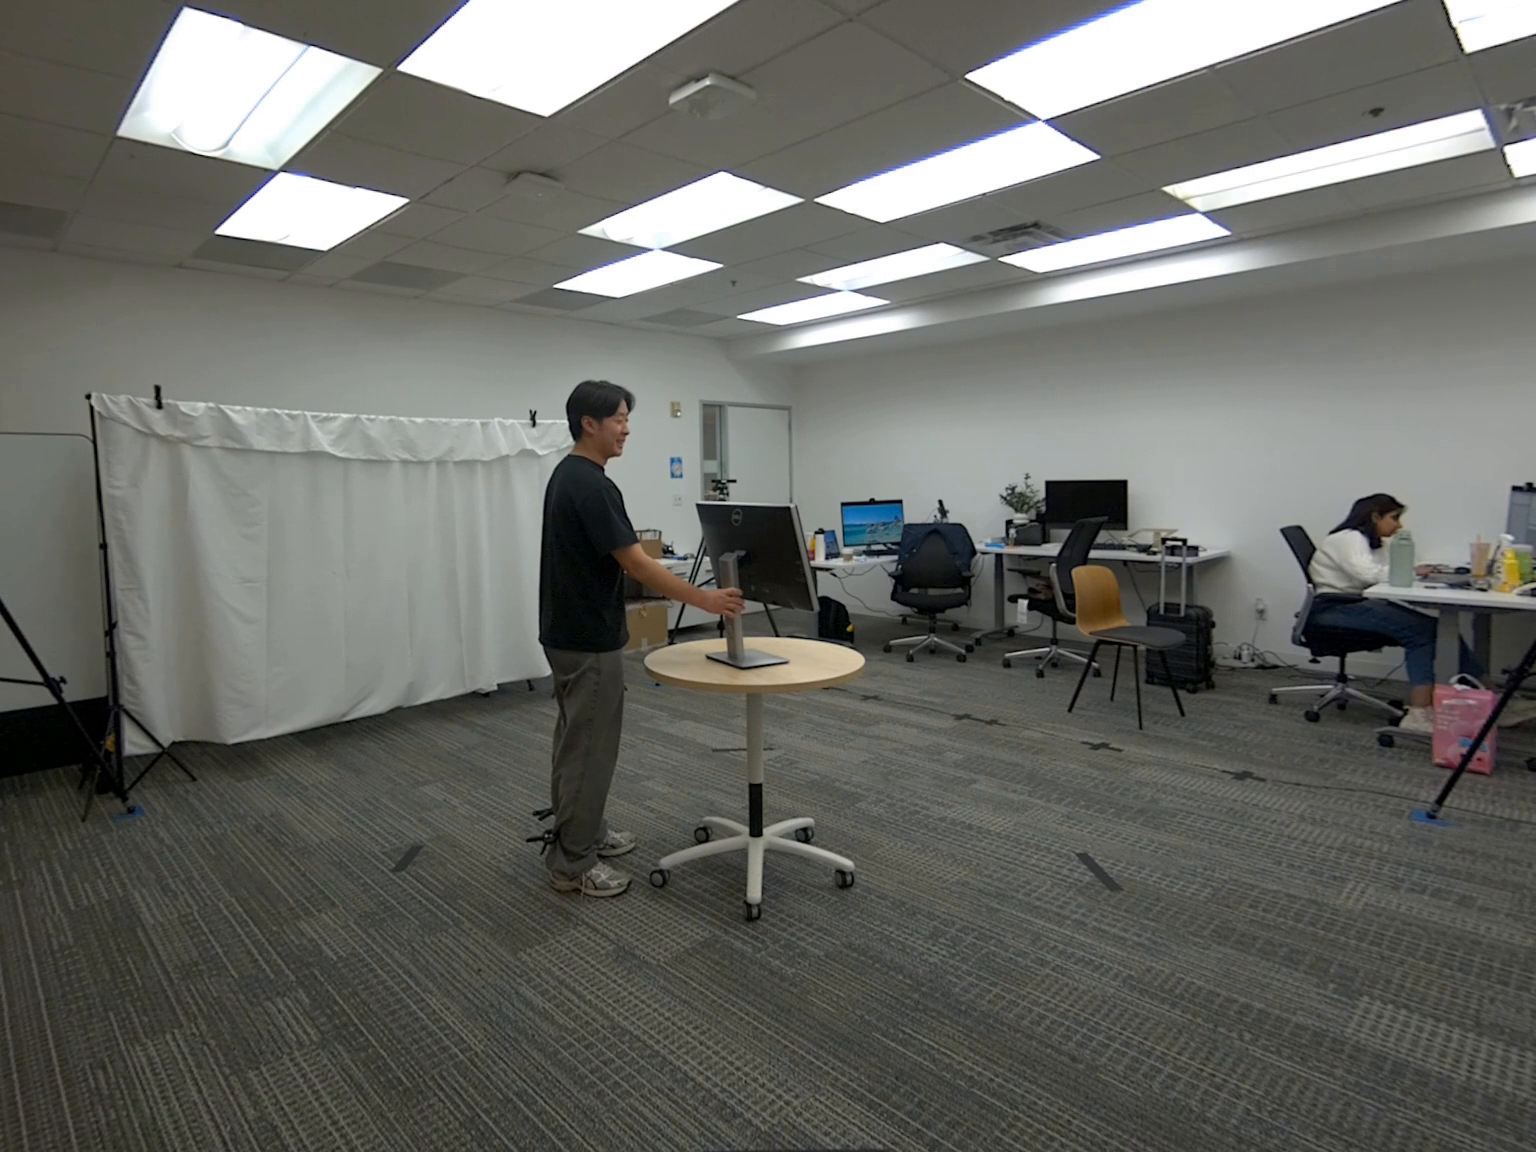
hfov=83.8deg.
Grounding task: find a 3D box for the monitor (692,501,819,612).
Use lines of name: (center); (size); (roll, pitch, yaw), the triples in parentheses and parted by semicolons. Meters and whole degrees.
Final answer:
monitor: (-0.072, 0.030, 2.933); (0.216, 0.564, 0.578); (-2, 6, -33)
